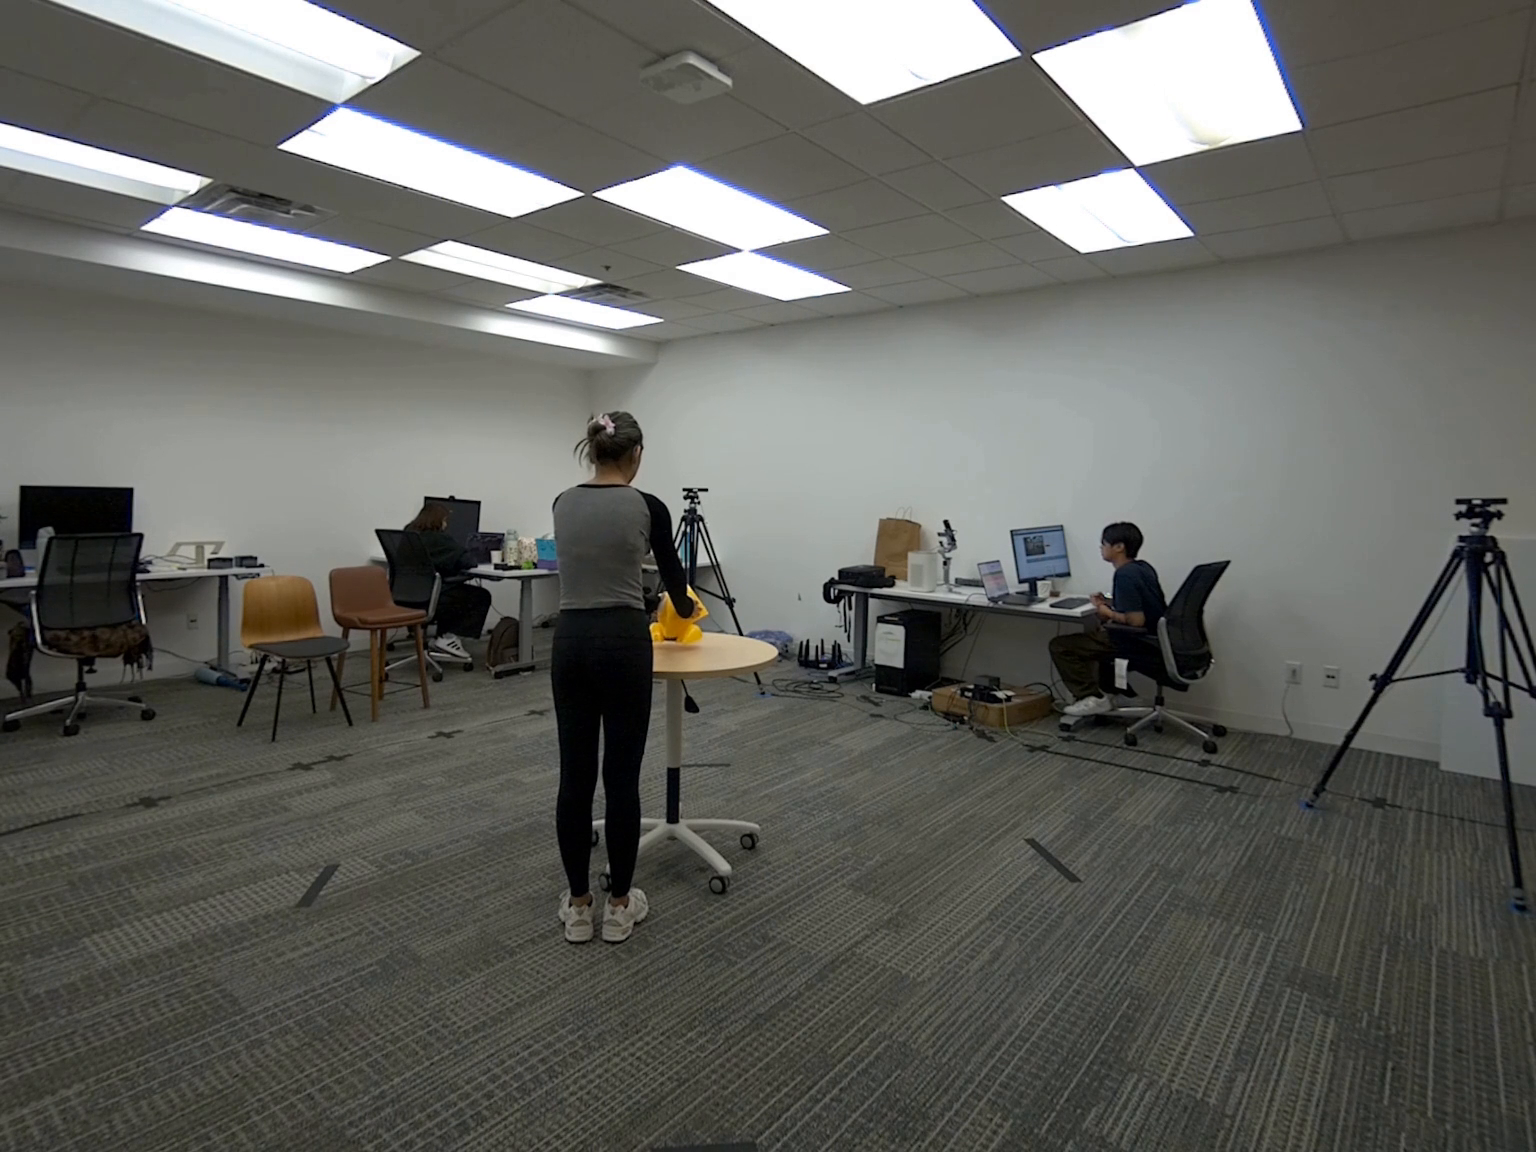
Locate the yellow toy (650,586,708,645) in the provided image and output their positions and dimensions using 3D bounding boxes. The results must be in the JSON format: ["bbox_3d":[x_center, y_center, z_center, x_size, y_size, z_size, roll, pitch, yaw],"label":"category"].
[{"bbox_3d":[-0.362,0.118,3.192,0.208,0.229,0.191,0,7,15],"label":"yellow toy"}]
